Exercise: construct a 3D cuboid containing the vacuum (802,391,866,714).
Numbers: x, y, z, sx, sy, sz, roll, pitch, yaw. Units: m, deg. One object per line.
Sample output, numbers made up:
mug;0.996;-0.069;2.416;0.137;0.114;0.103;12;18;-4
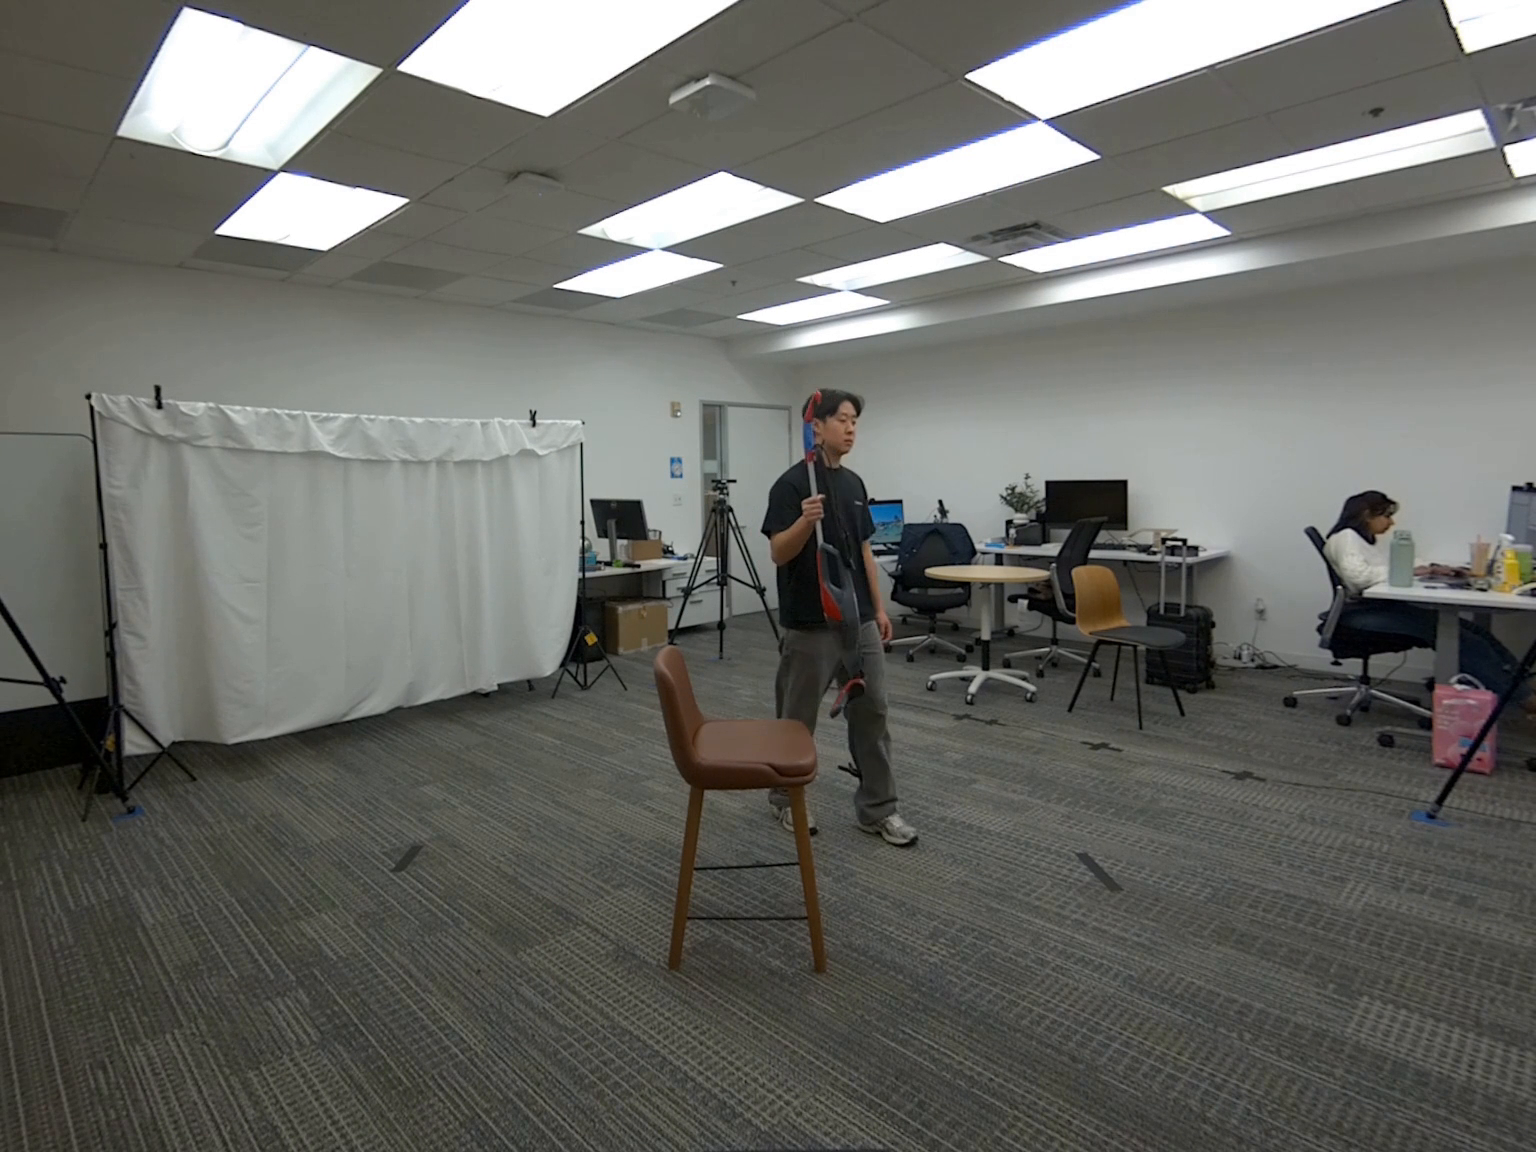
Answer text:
vacuum;0.226;-0.109;2.947;0.145;1.046;0.251;-5;3;7
